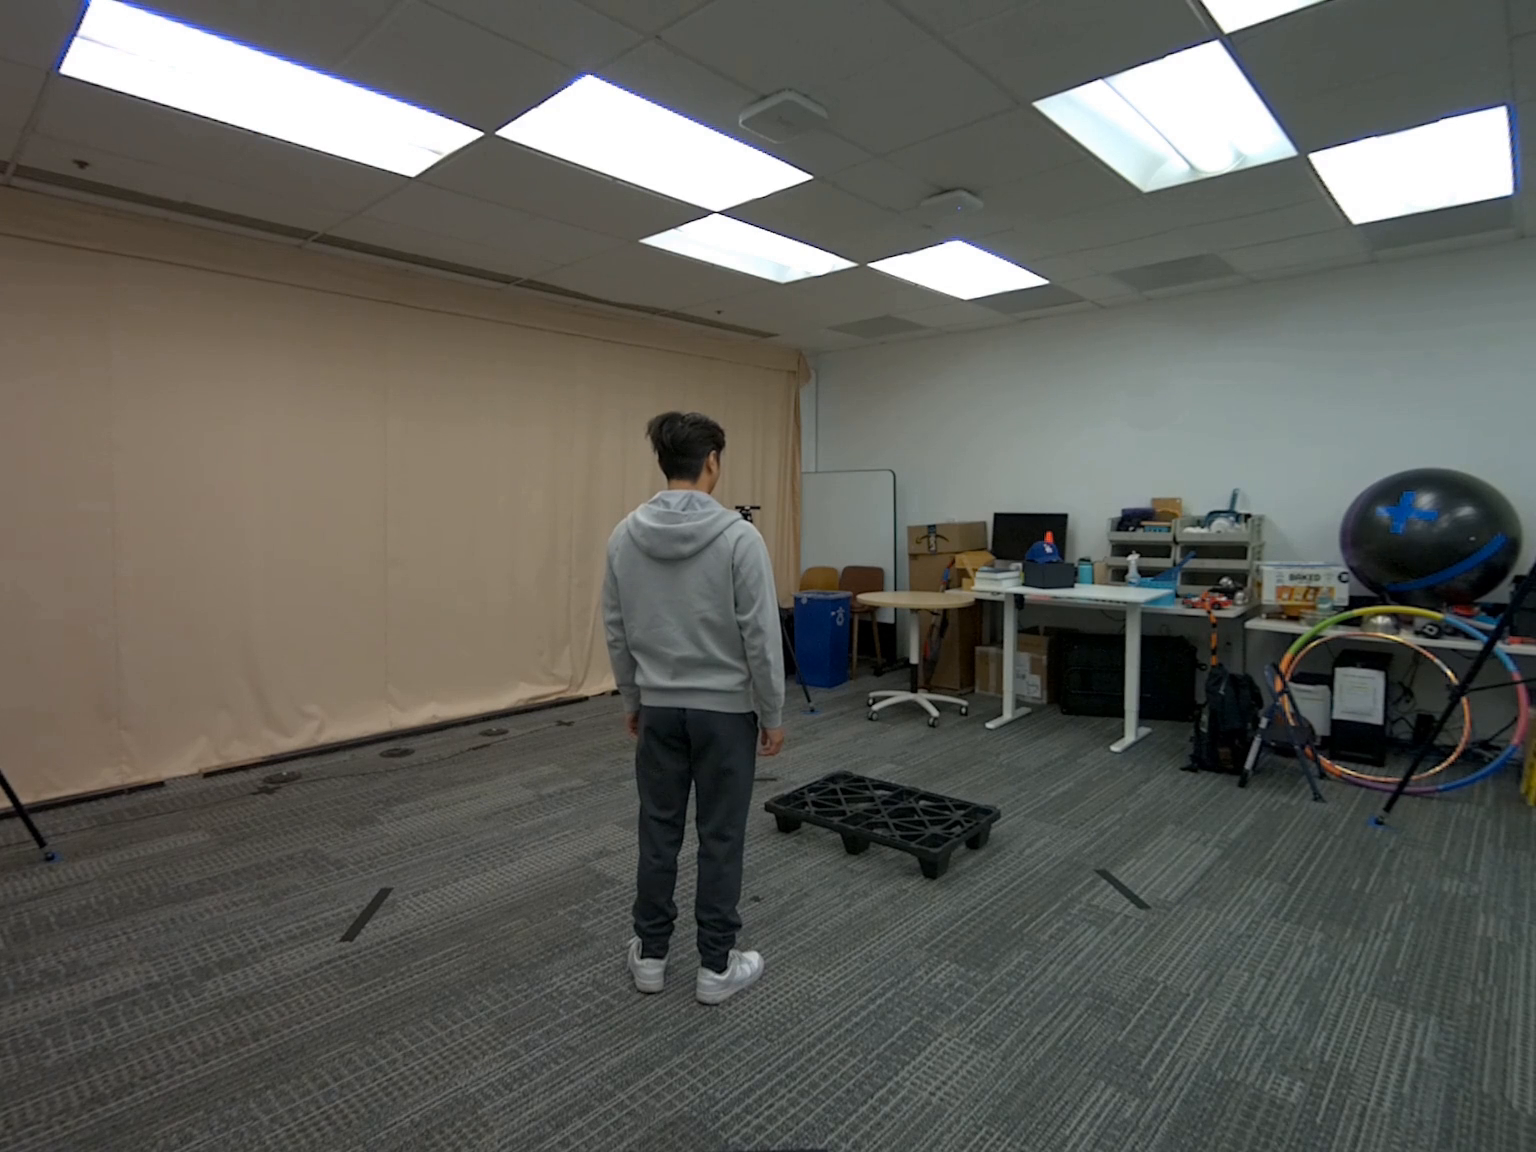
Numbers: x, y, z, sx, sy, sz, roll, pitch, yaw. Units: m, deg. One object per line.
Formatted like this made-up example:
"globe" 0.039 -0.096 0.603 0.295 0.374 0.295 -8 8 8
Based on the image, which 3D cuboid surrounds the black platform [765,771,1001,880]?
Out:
"black platform" 0.476 1.031 3.531 0.832 0.143 0.587 3 6 39
